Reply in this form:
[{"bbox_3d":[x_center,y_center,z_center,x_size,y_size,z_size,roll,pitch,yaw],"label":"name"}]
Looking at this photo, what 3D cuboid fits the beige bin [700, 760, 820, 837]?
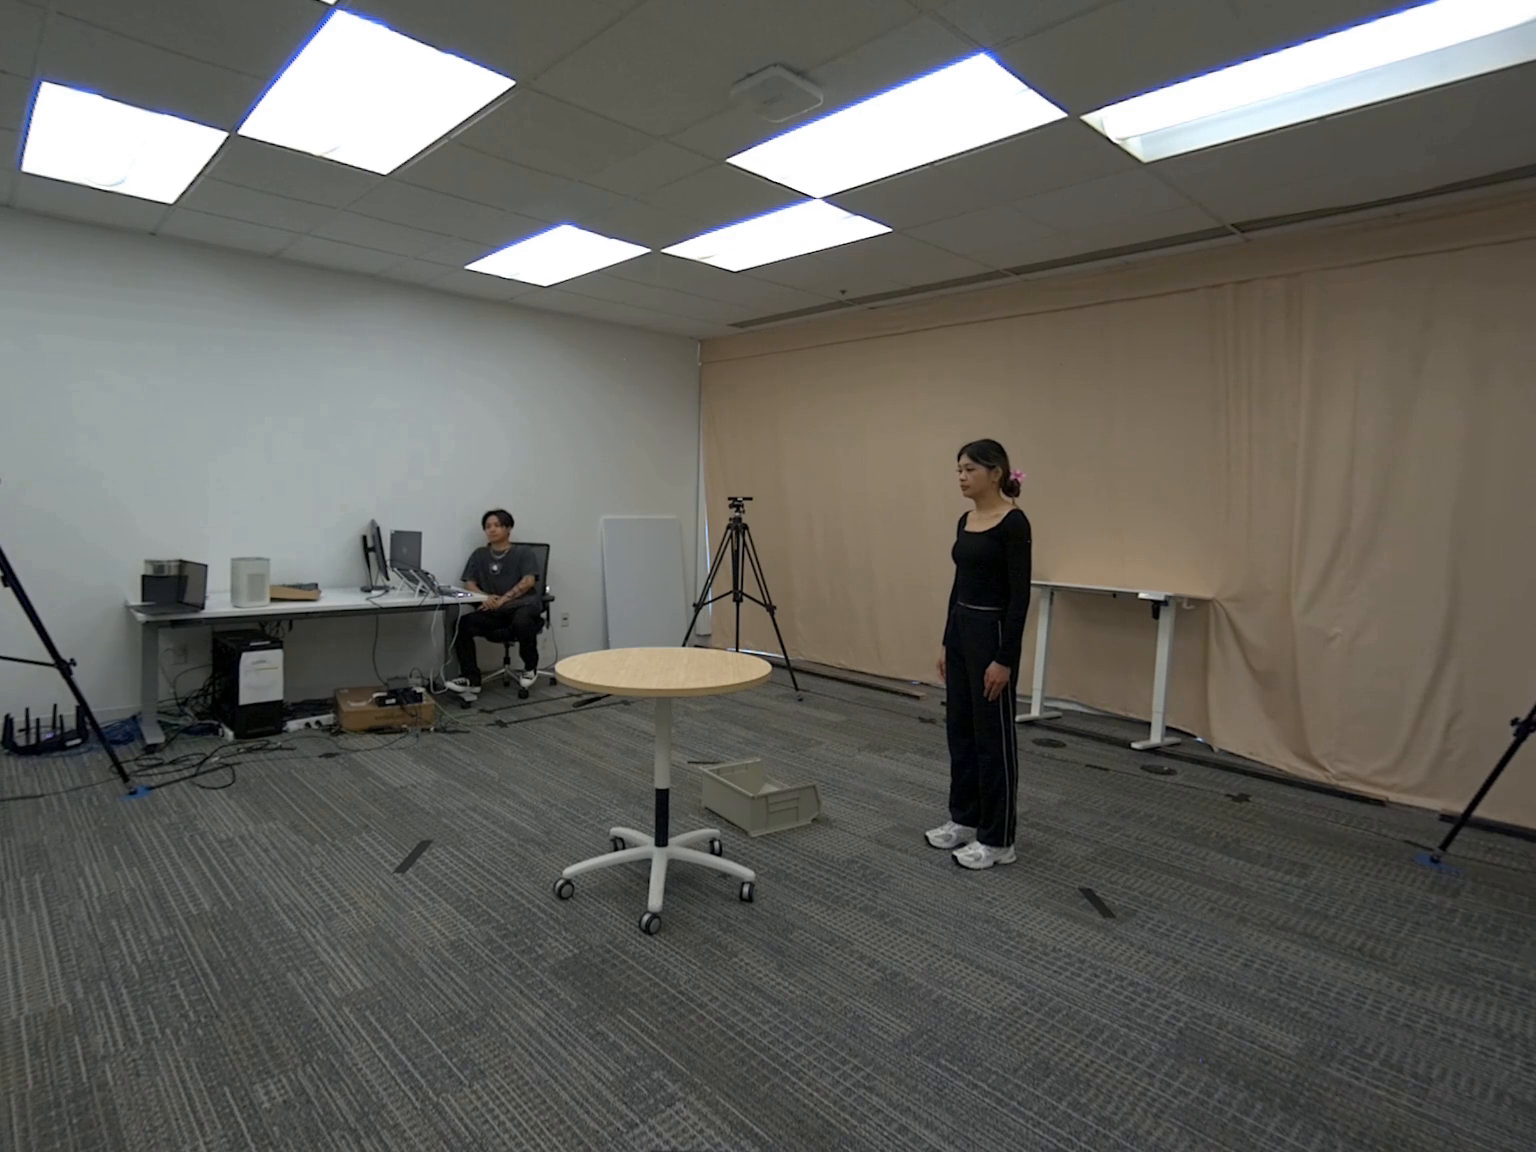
[{"bbox_3d":[-0.045,0.960,3.733,0.369,0.188,0.433,-3,7,-35],"label":"beige bin"}]
